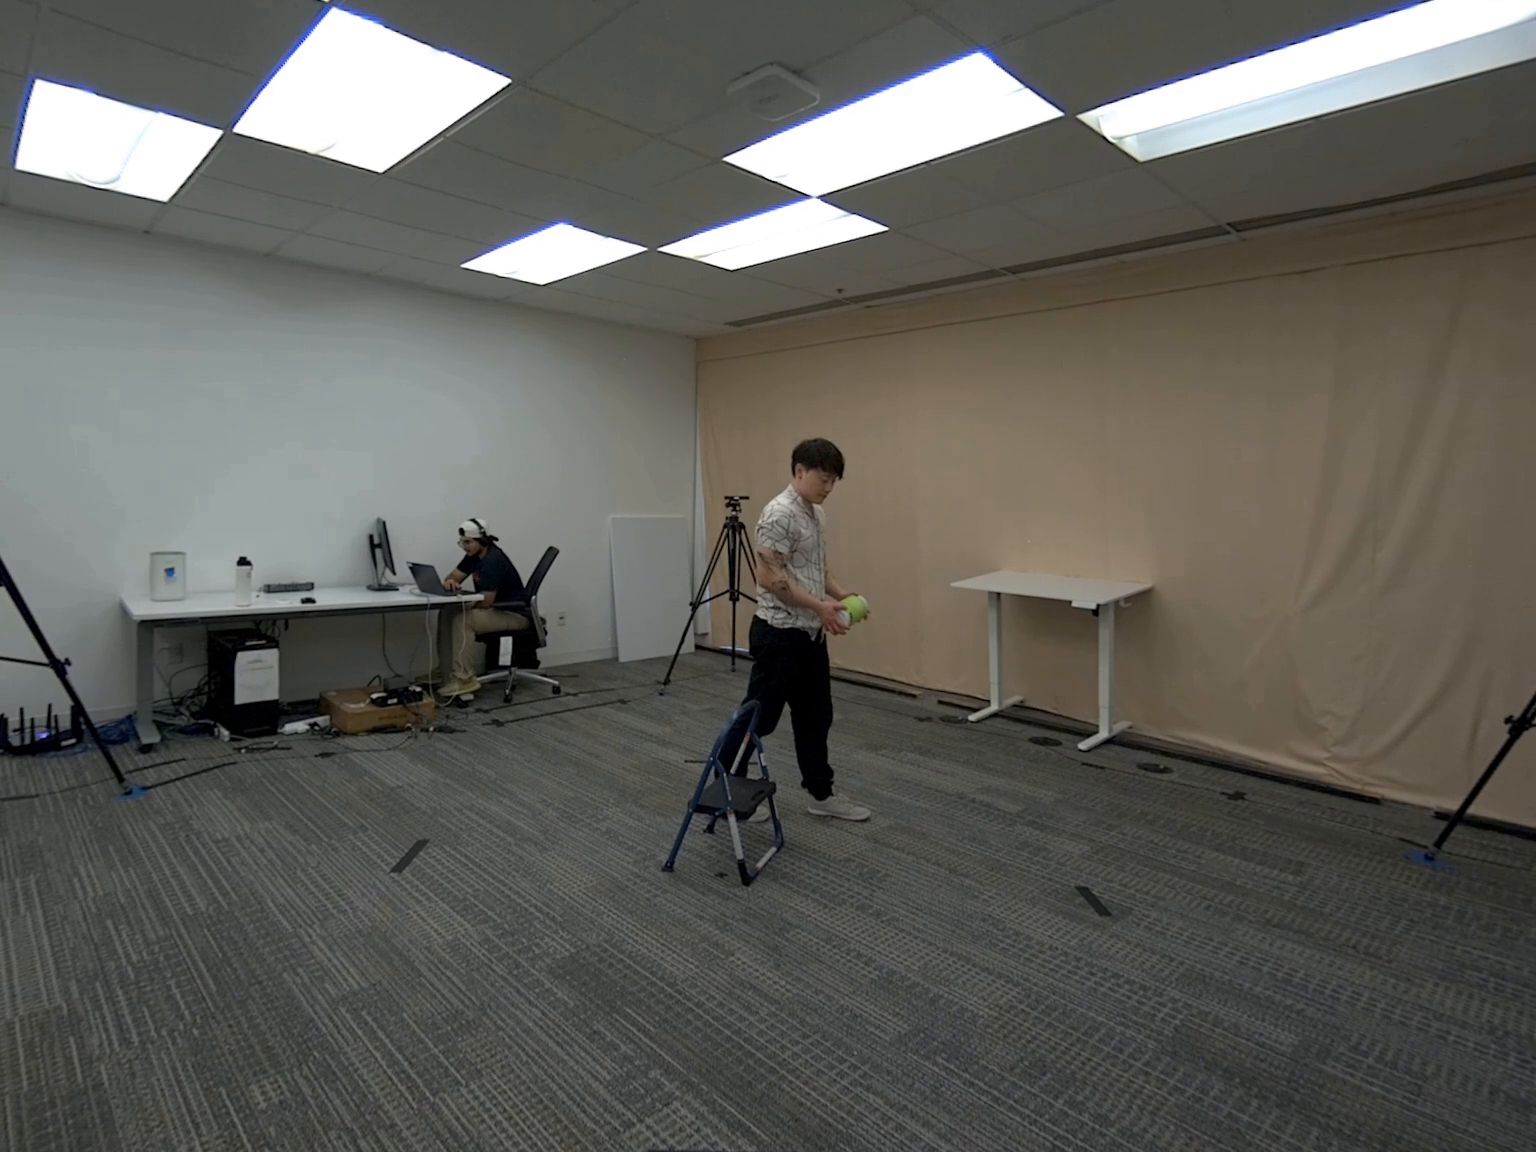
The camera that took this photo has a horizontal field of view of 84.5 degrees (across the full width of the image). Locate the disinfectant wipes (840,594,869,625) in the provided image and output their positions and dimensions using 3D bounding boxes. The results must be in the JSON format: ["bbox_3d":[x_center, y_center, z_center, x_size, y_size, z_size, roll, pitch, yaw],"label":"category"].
[{"bbox_3d":[0.319,0.150,3.538,0.120,0.116,0.215,4,17,30],"label":"disinfectant wipes"}]
